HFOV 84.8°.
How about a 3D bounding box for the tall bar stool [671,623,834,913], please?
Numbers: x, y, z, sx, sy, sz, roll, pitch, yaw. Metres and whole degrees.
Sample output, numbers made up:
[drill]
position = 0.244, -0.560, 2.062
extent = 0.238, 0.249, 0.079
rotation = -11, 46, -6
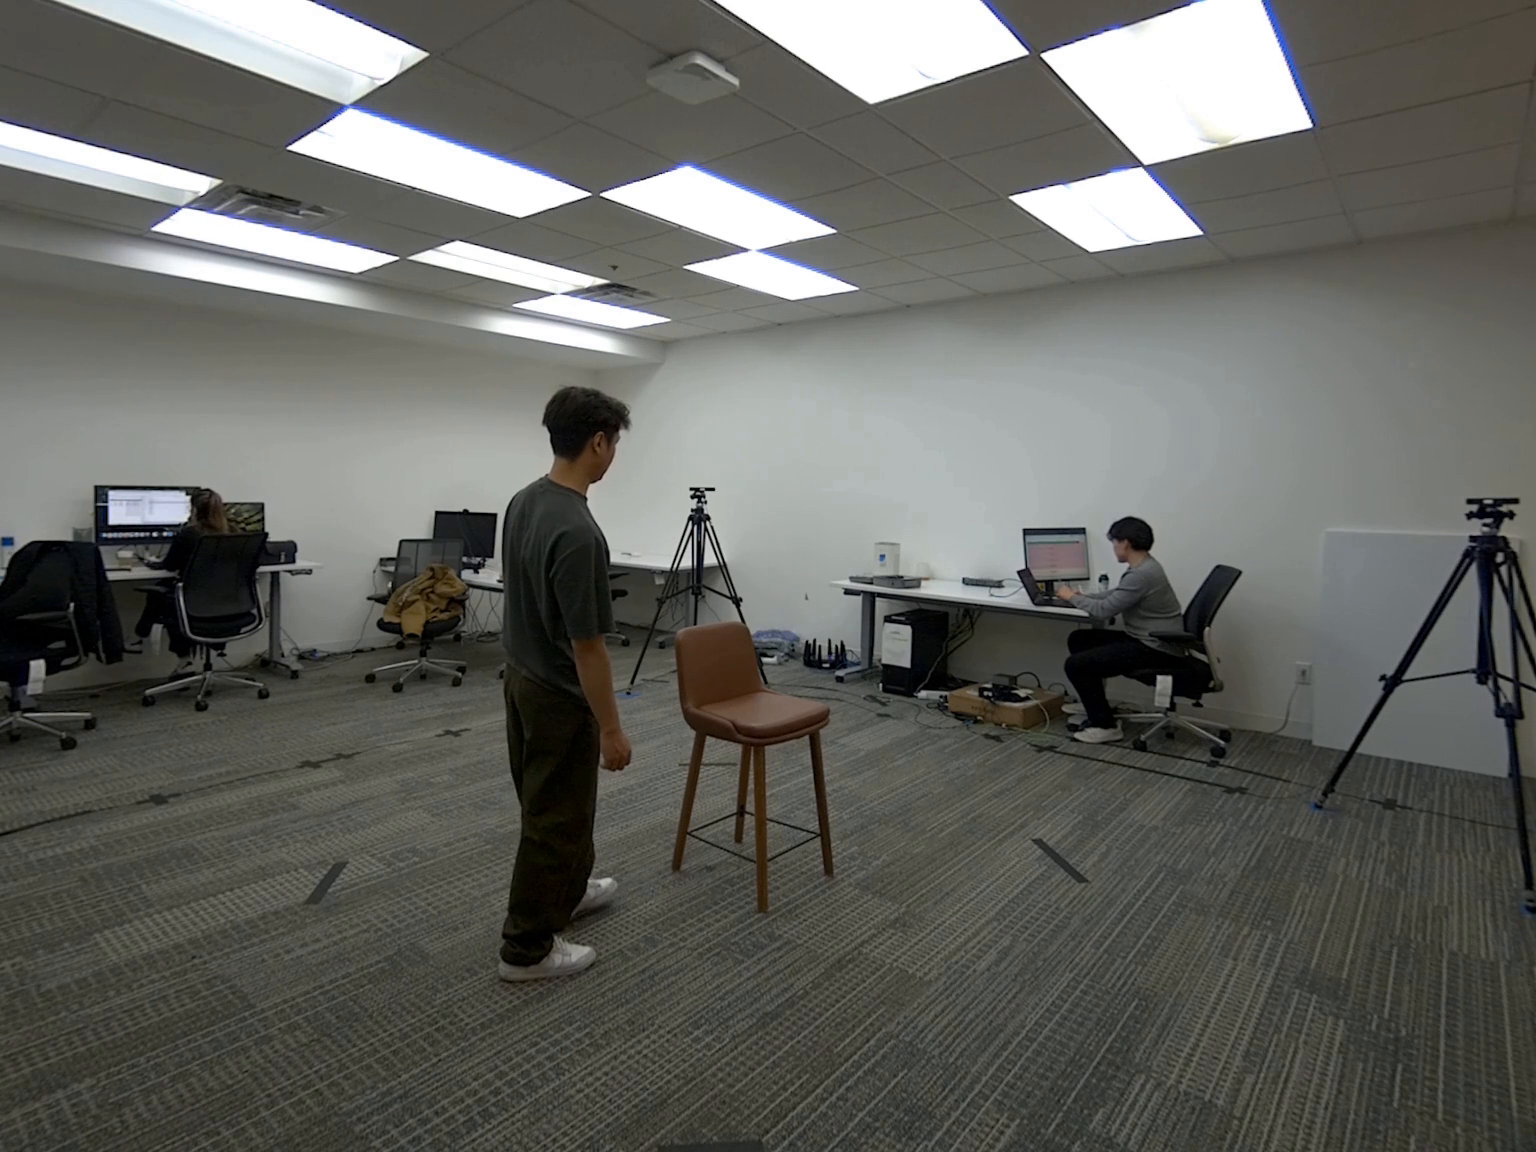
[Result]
[tall bar stool]
position = -0.064, 0.638, 3.065
extent = 0.483, 0.889, 0.442
rotation = 2, 2, 41
